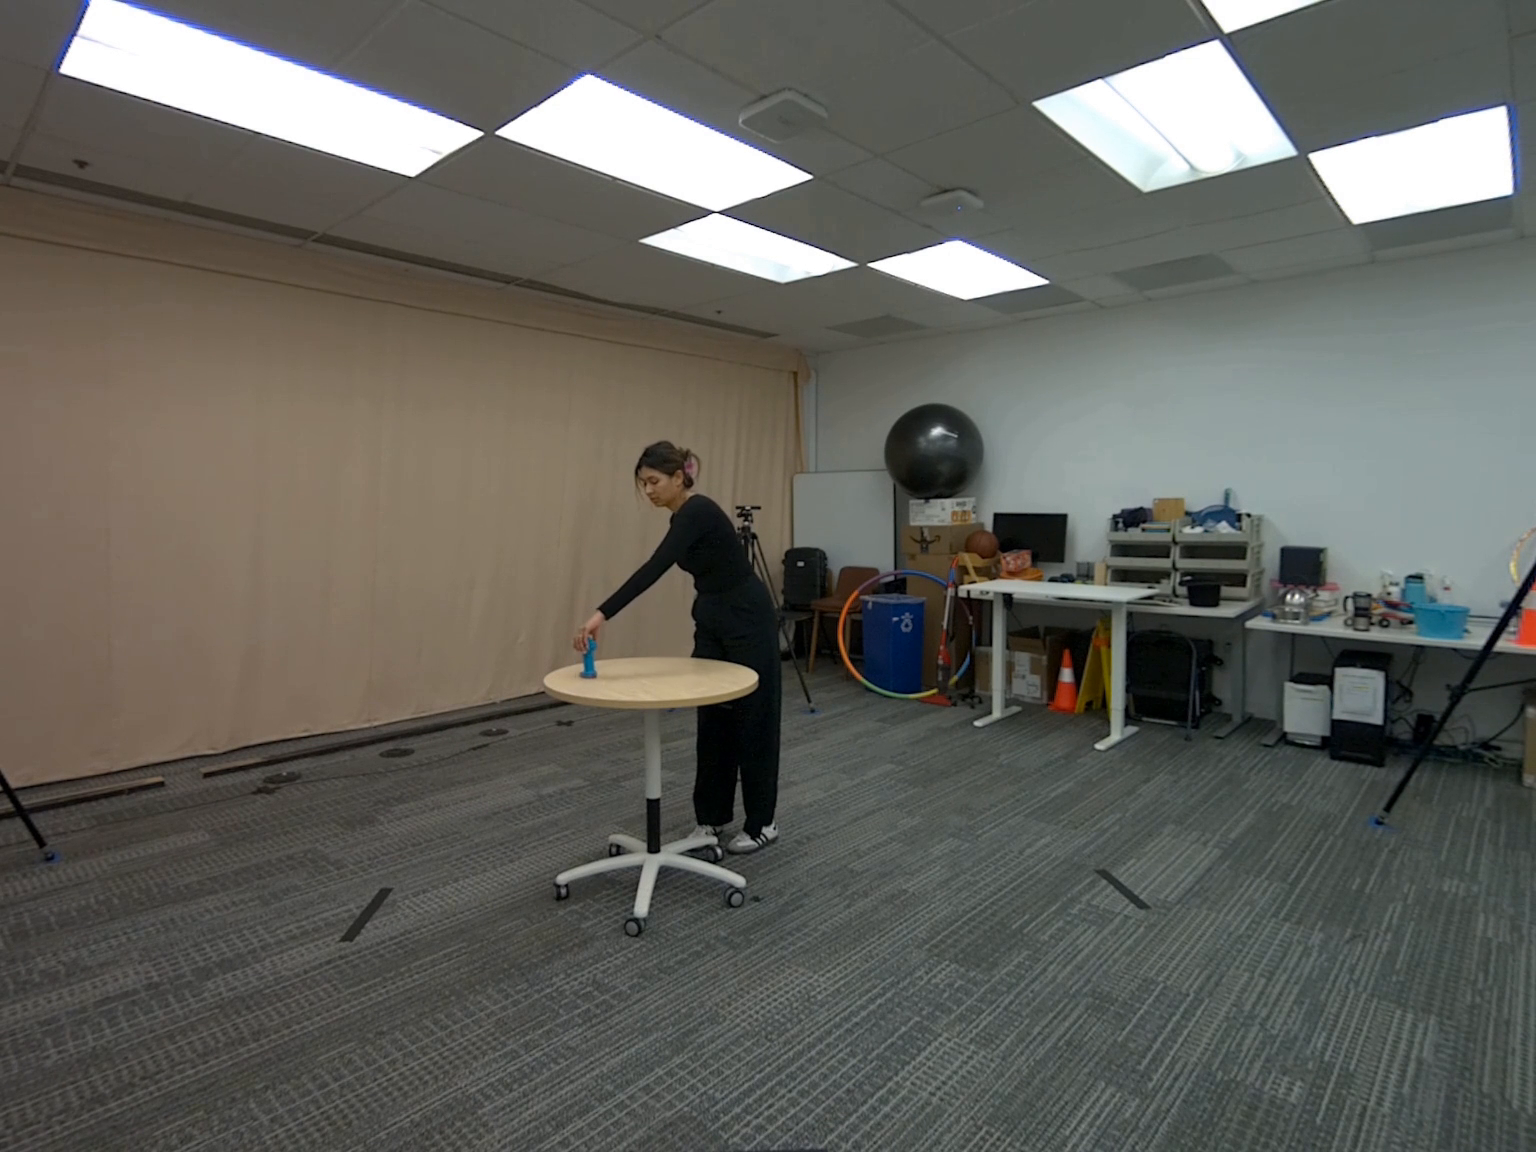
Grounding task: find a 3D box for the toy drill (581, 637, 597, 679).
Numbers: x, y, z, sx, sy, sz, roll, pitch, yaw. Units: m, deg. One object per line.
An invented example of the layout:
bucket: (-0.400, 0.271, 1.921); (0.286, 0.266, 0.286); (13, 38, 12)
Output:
toy drill: (-0.665, 0.287, 3.042); (0.059, 0.145, 0.175); (-6, 7, -43)
